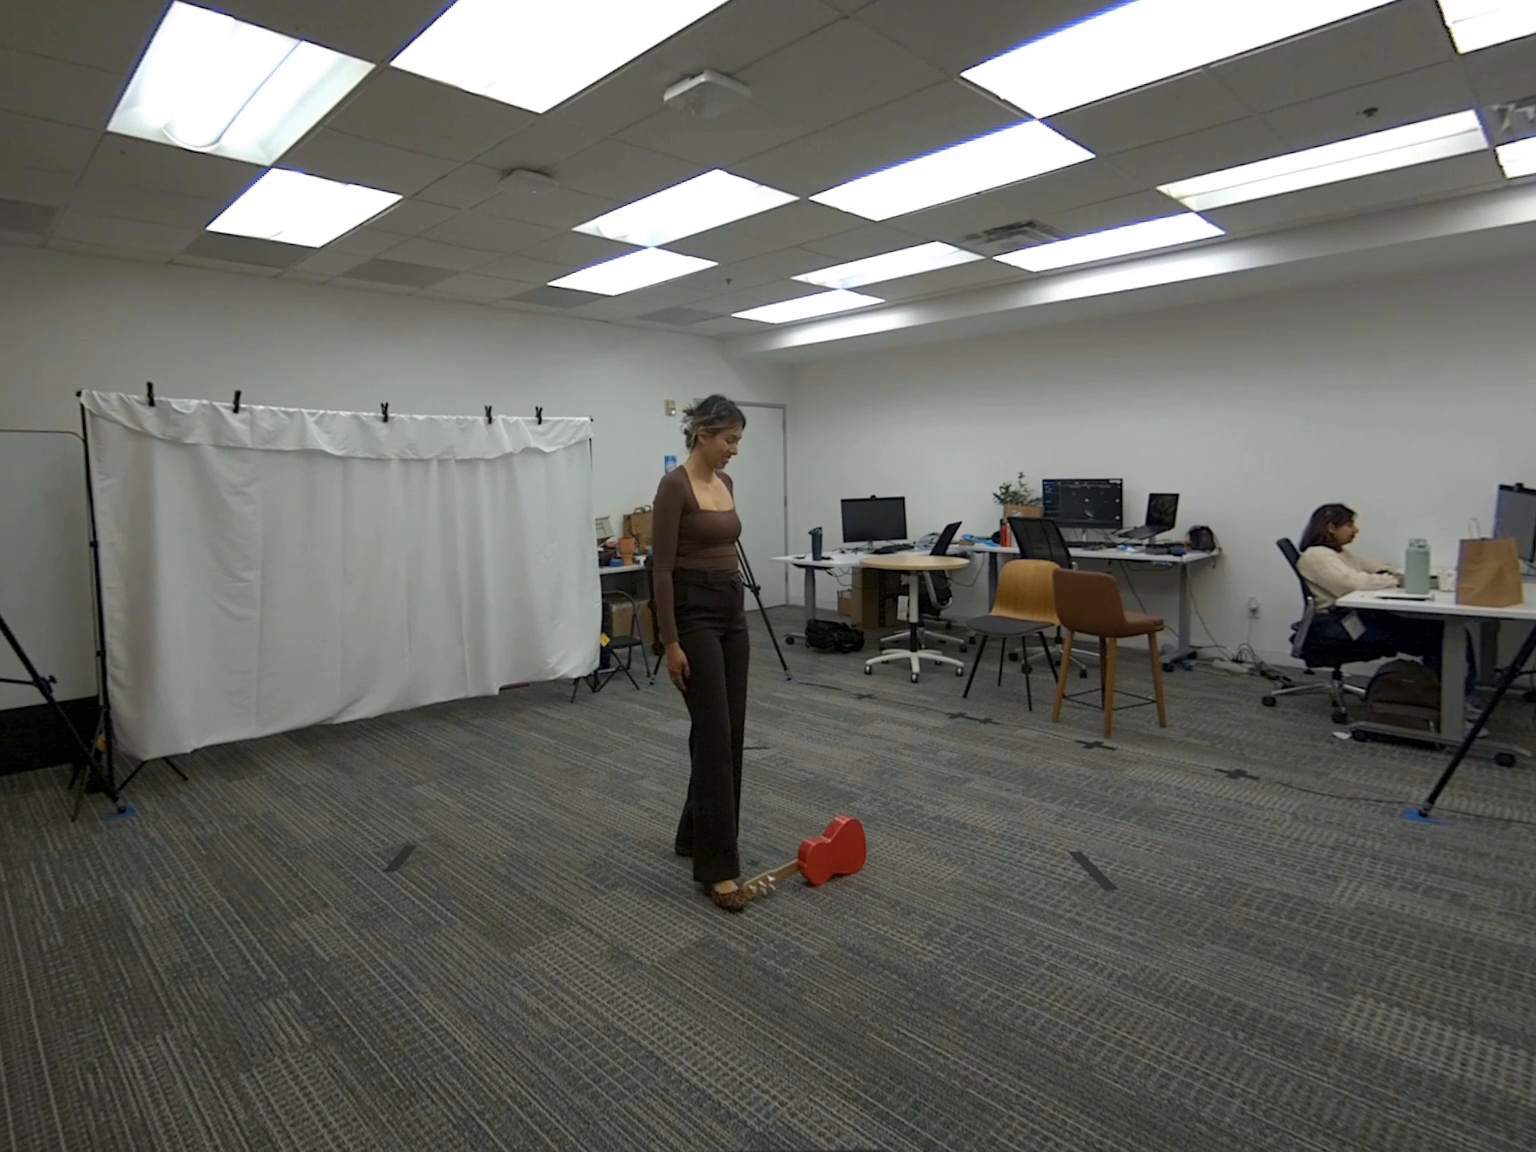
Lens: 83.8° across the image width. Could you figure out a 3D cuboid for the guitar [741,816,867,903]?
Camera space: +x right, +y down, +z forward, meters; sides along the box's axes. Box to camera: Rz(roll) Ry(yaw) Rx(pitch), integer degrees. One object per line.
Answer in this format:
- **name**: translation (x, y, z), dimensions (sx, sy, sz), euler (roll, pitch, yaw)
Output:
- **guitar**: translation (0.140, 1.015, 2.935), dimensions (0.491, 0.190, 0.072), euler (-26, 15, -31)
